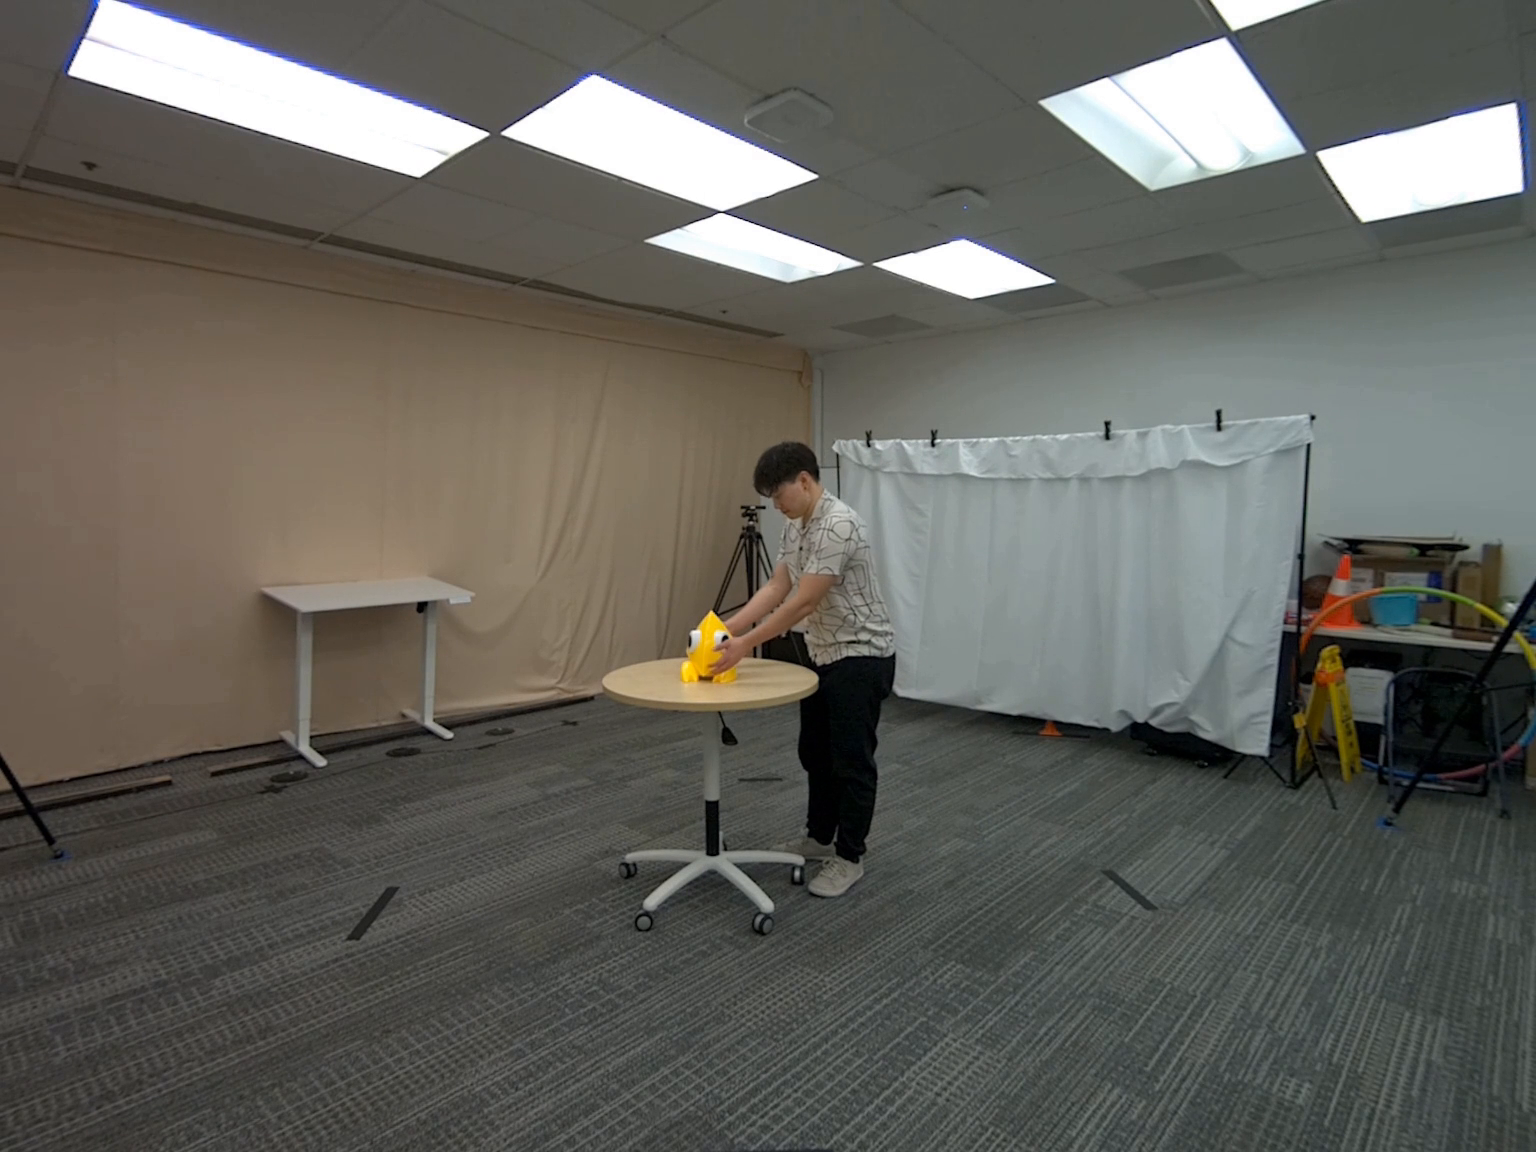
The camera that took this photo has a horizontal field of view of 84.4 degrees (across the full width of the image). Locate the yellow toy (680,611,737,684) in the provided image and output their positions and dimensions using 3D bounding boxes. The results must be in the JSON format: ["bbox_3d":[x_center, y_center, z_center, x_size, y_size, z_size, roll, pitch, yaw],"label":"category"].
[{"bbox_3d":[-0.211,0.249,2.987,0.207,0.230,0.191,0,4,10],"label":"yellow toy"}]
